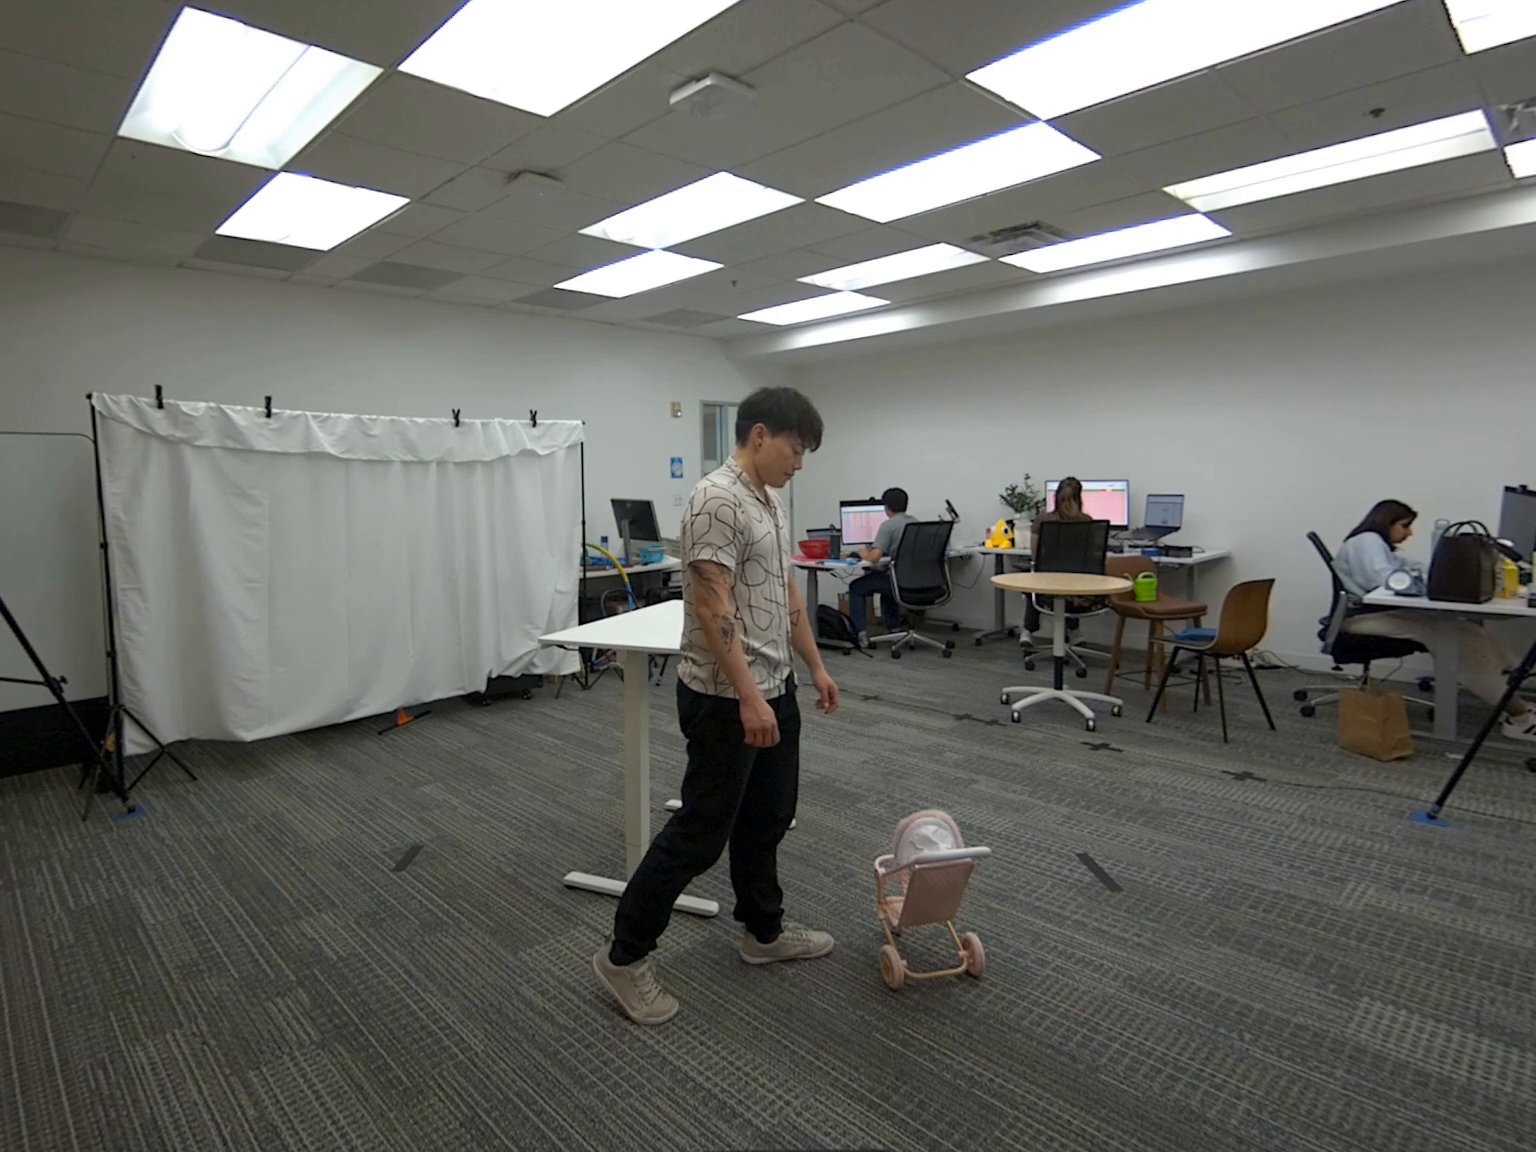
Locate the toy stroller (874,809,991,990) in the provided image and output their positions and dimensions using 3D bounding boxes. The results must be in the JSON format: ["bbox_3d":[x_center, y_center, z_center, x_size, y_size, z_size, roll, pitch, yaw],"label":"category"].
[{"bbox_3d":[0.449,0.891,2.425,0.279,0.526,0.350,-1,20,-11],"label":"toy stroller"}]
